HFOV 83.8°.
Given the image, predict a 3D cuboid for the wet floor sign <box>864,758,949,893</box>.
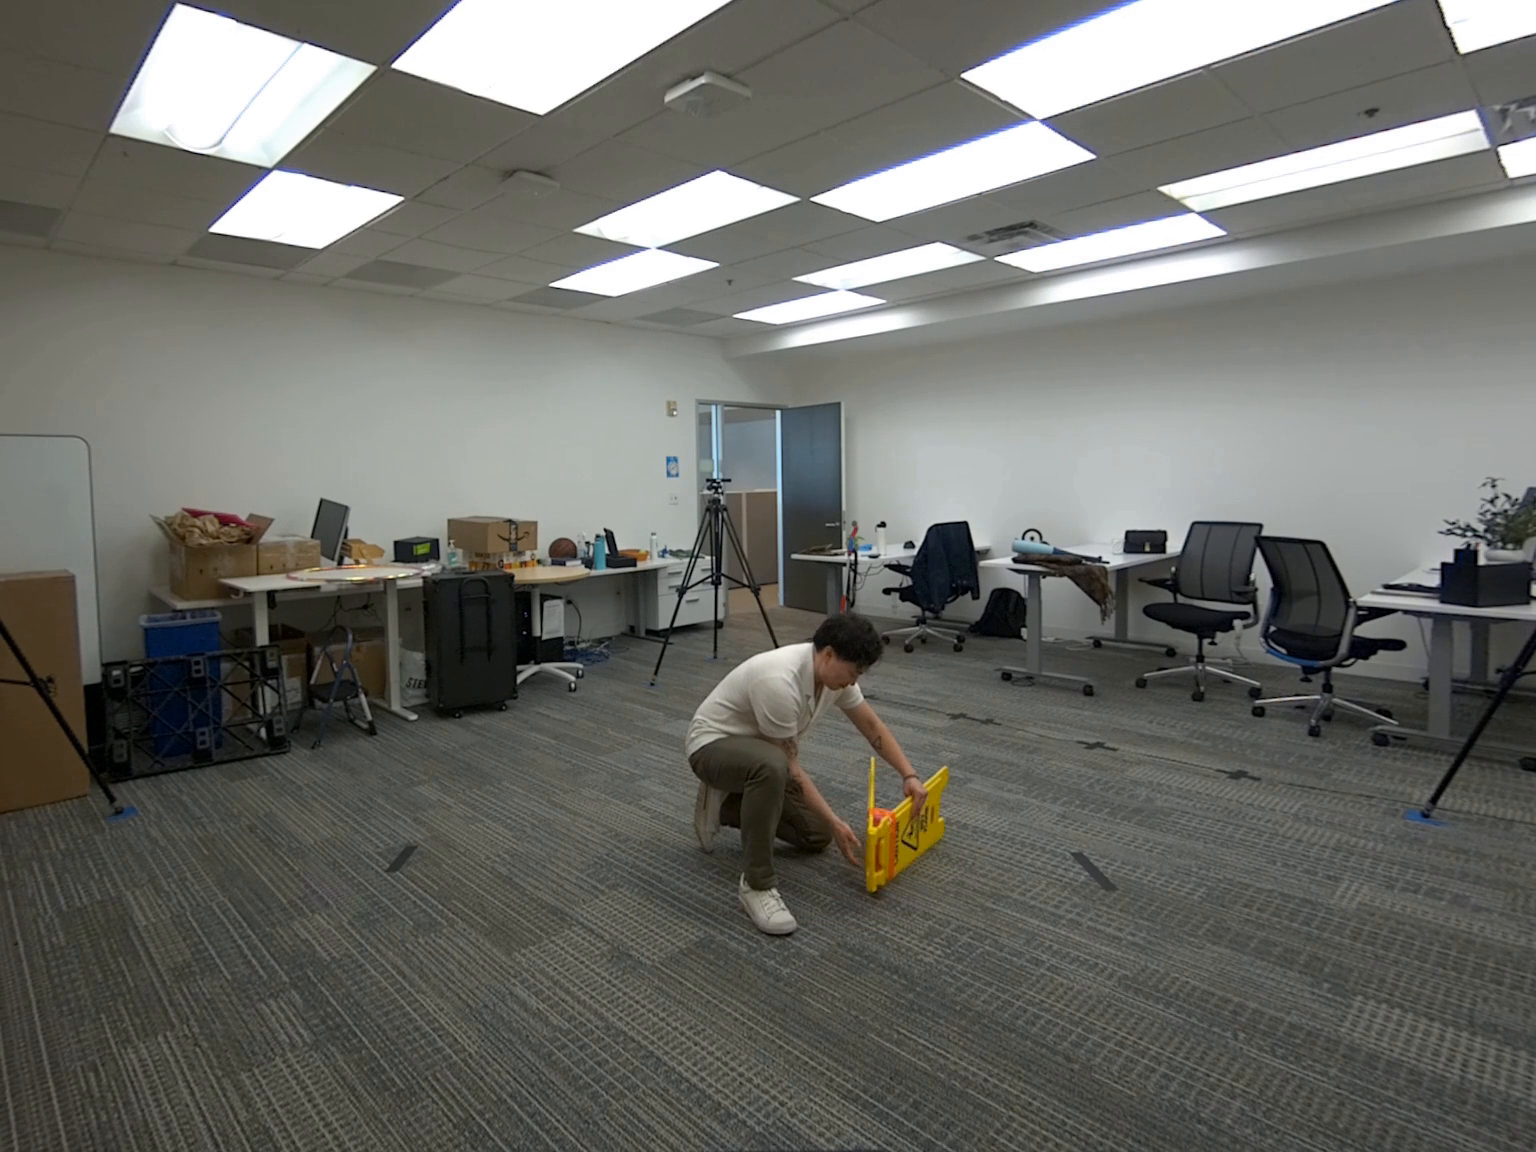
[{"bbox_3d":[0.431,0.881,3.037,0.296,0.281,0.635,3,7,21],"label":"wet floor sign"}]
